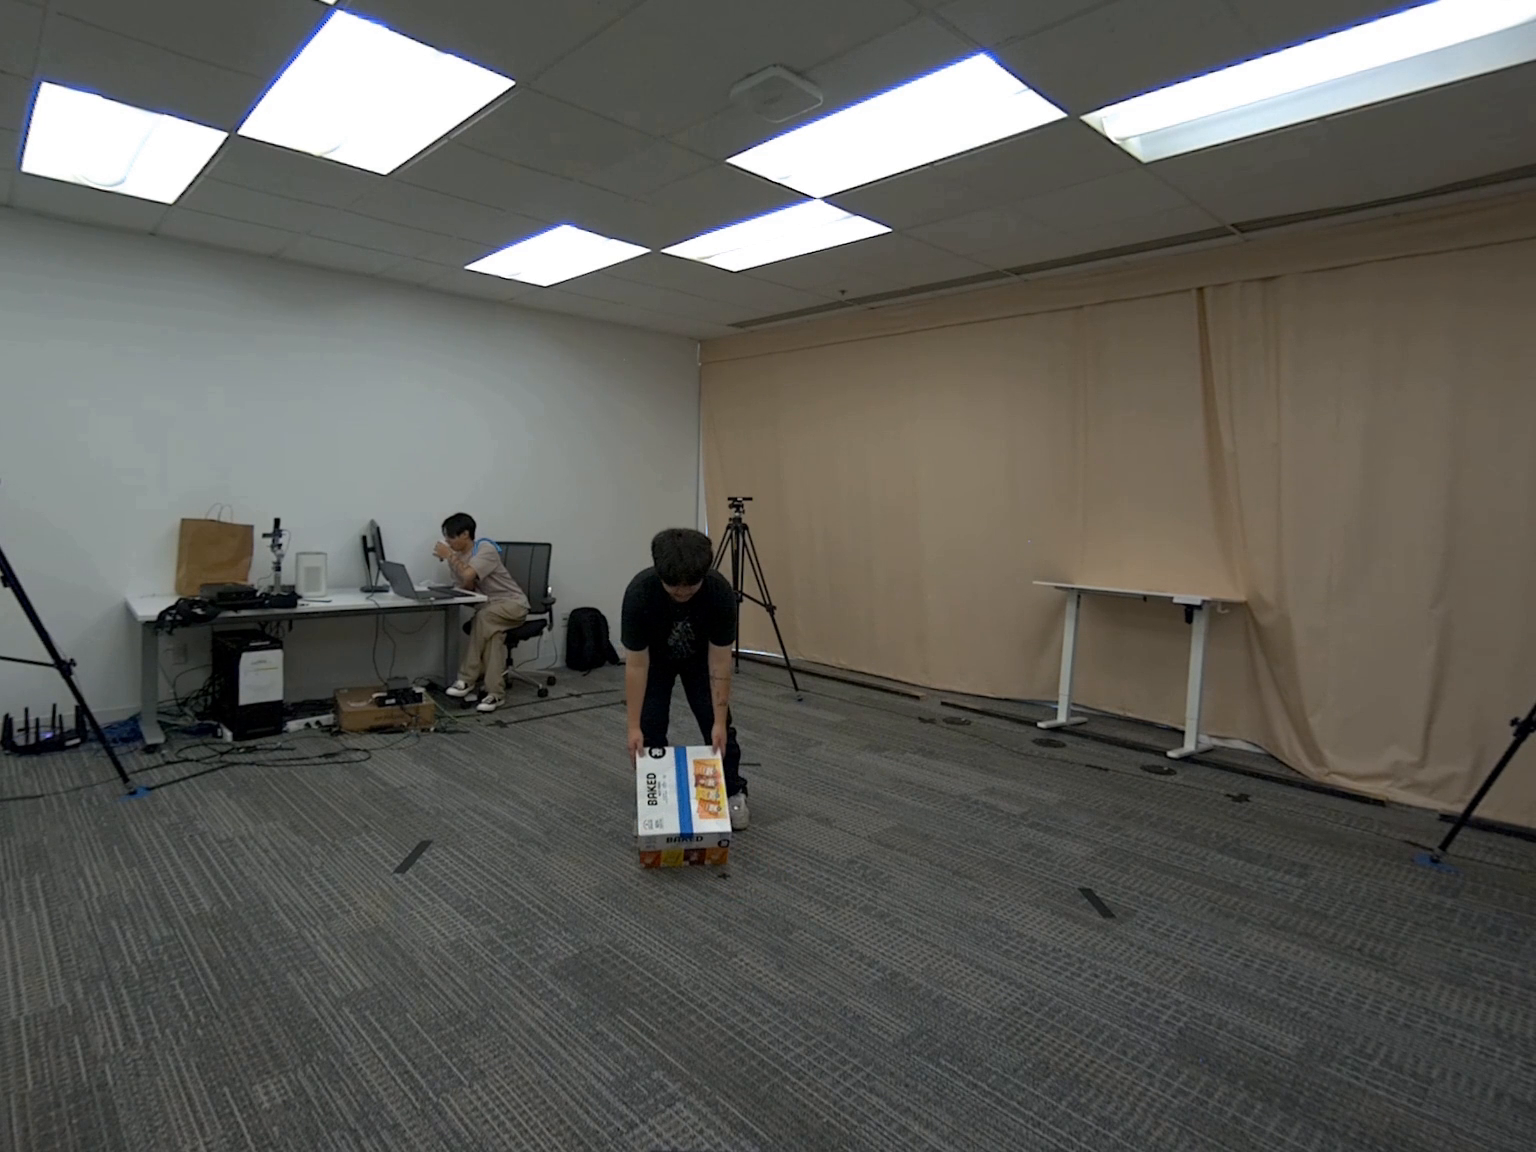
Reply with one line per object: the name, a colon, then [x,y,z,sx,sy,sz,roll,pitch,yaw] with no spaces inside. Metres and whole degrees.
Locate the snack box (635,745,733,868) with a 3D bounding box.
snack box: [-0.349,0.893,3.277,0.338,0.202,0.415,0,37,-10]
